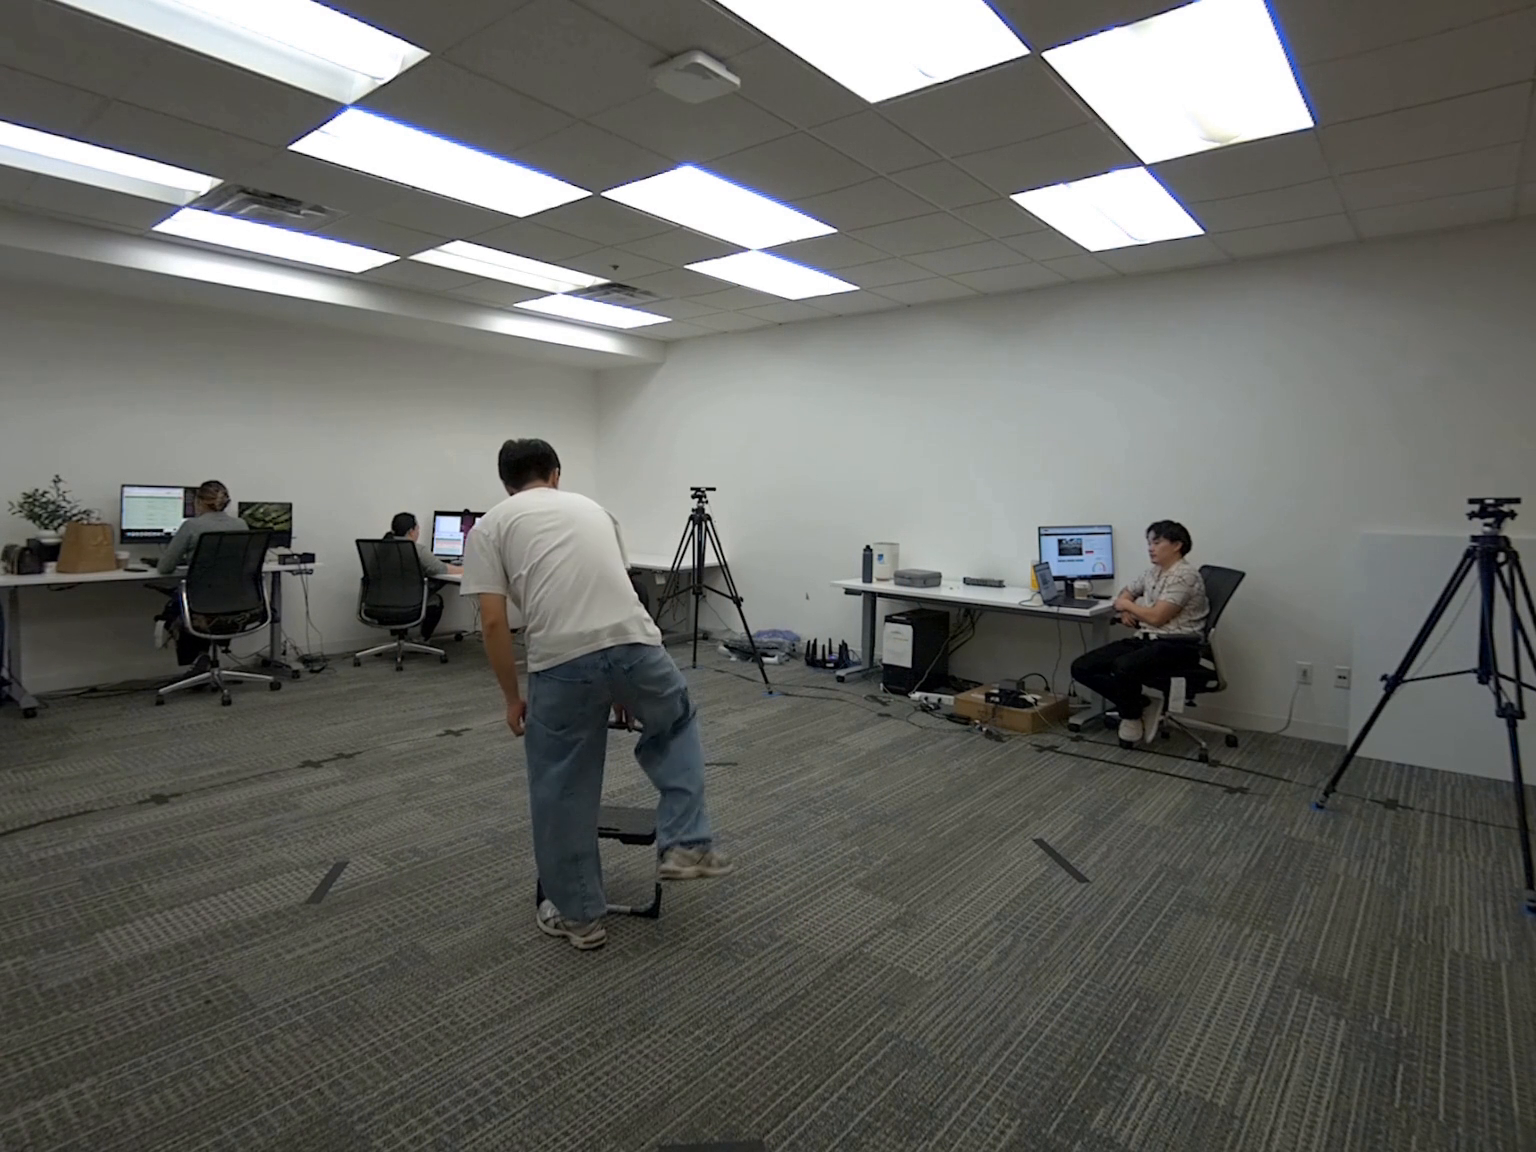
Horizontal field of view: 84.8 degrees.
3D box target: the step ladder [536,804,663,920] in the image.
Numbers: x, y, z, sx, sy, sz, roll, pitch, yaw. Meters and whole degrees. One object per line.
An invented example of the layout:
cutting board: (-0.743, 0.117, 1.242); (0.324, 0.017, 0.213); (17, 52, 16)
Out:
step ladder: (-0.551, 0.776, 2.911); (0.434, 0.604, 0.348); (1, 3, 6)
